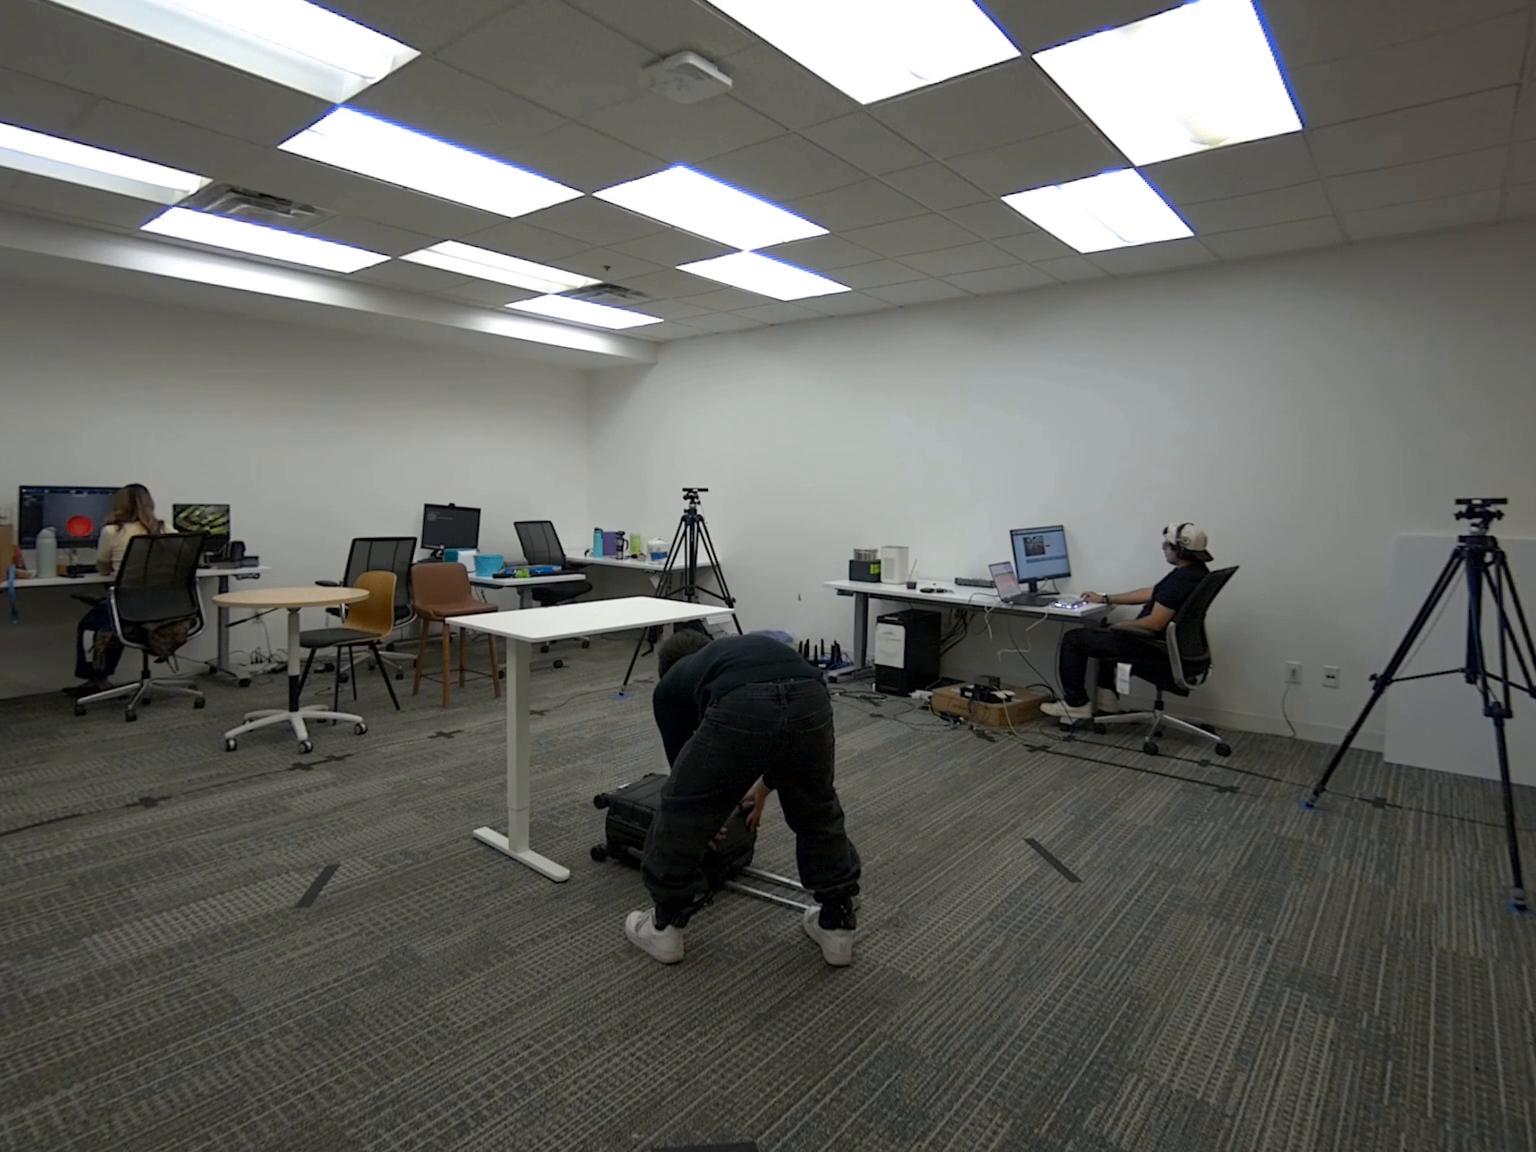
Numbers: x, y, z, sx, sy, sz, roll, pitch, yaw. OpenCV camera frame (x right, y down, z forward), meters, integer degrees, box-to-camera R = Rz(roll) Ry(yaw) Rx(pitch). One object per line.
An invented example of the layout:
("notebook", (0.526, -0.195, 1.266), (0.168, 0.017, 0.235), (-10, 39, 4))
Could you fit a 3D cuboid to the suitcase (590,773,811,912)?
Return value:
("suitcase", (-0.169, 0.952, 3.046), (1.008, 0.256, 0.373), (4, 4, 32))
